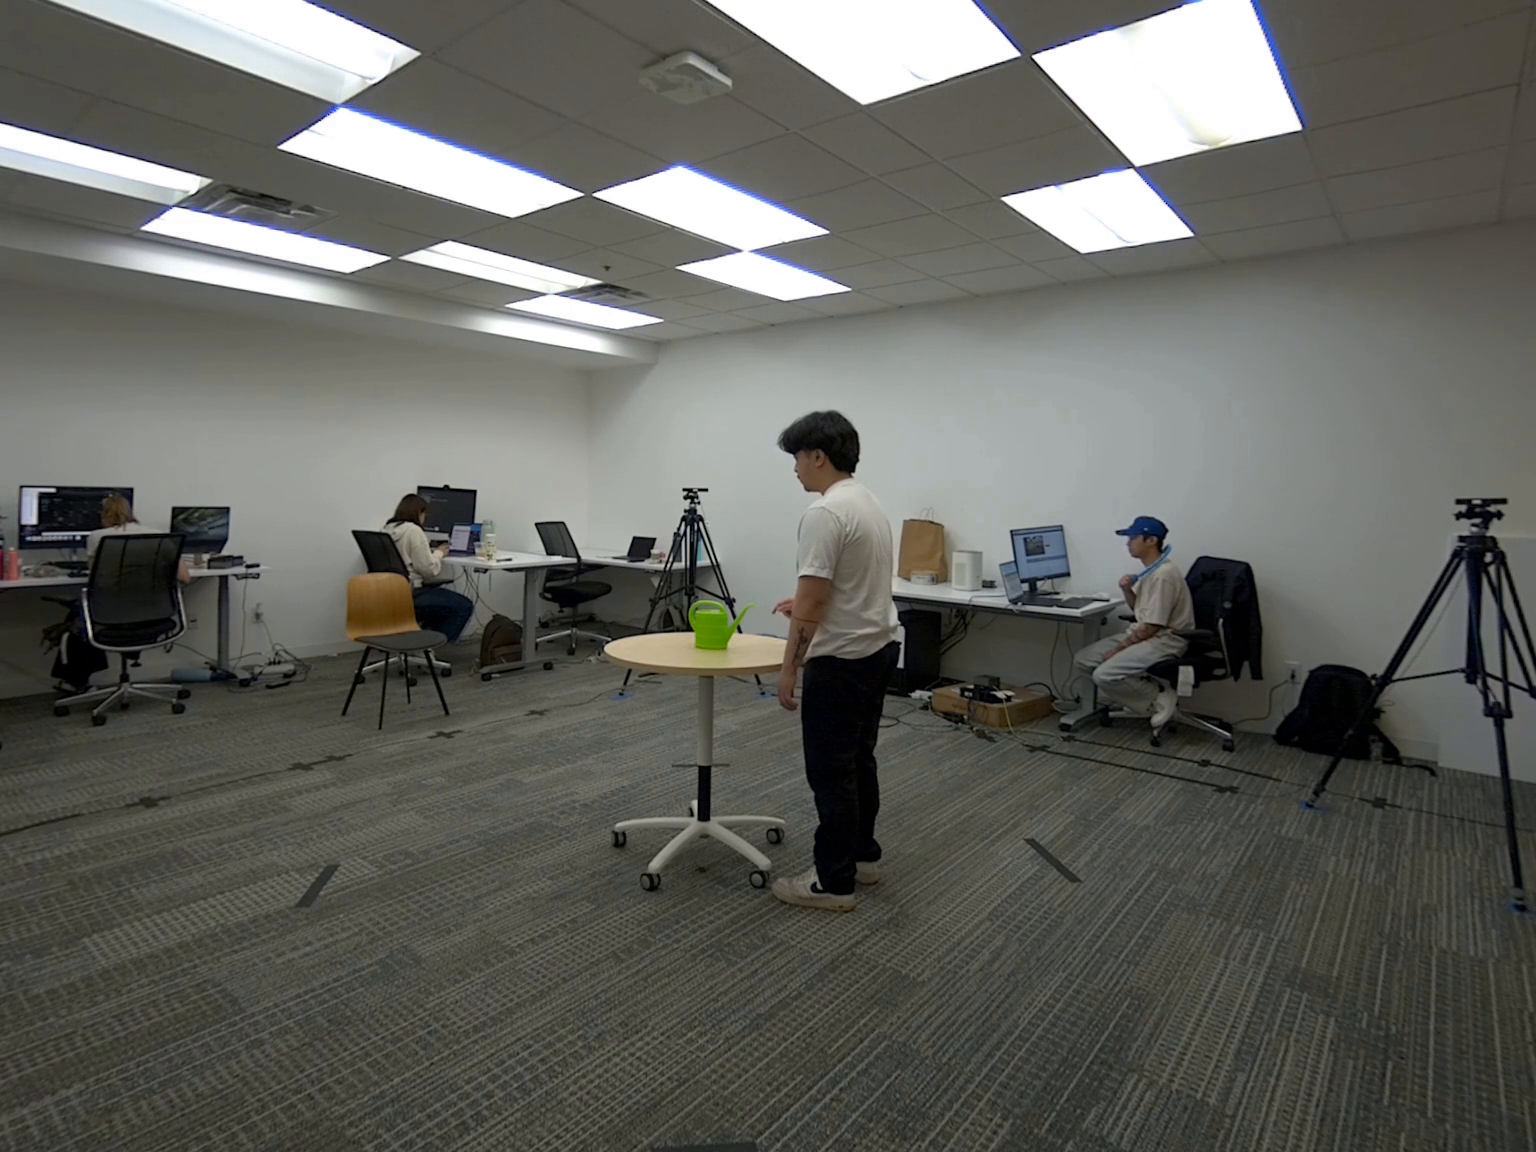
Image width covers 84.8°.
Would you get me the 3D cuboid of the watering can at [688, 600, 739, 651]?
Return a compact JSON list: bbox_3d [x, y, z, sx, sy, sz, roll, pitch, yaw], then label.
[{"bbox_3d":[-0.193,0.180,3.185,0.287,0.176,0.095,3,4,36],"label":"watering can"}]
